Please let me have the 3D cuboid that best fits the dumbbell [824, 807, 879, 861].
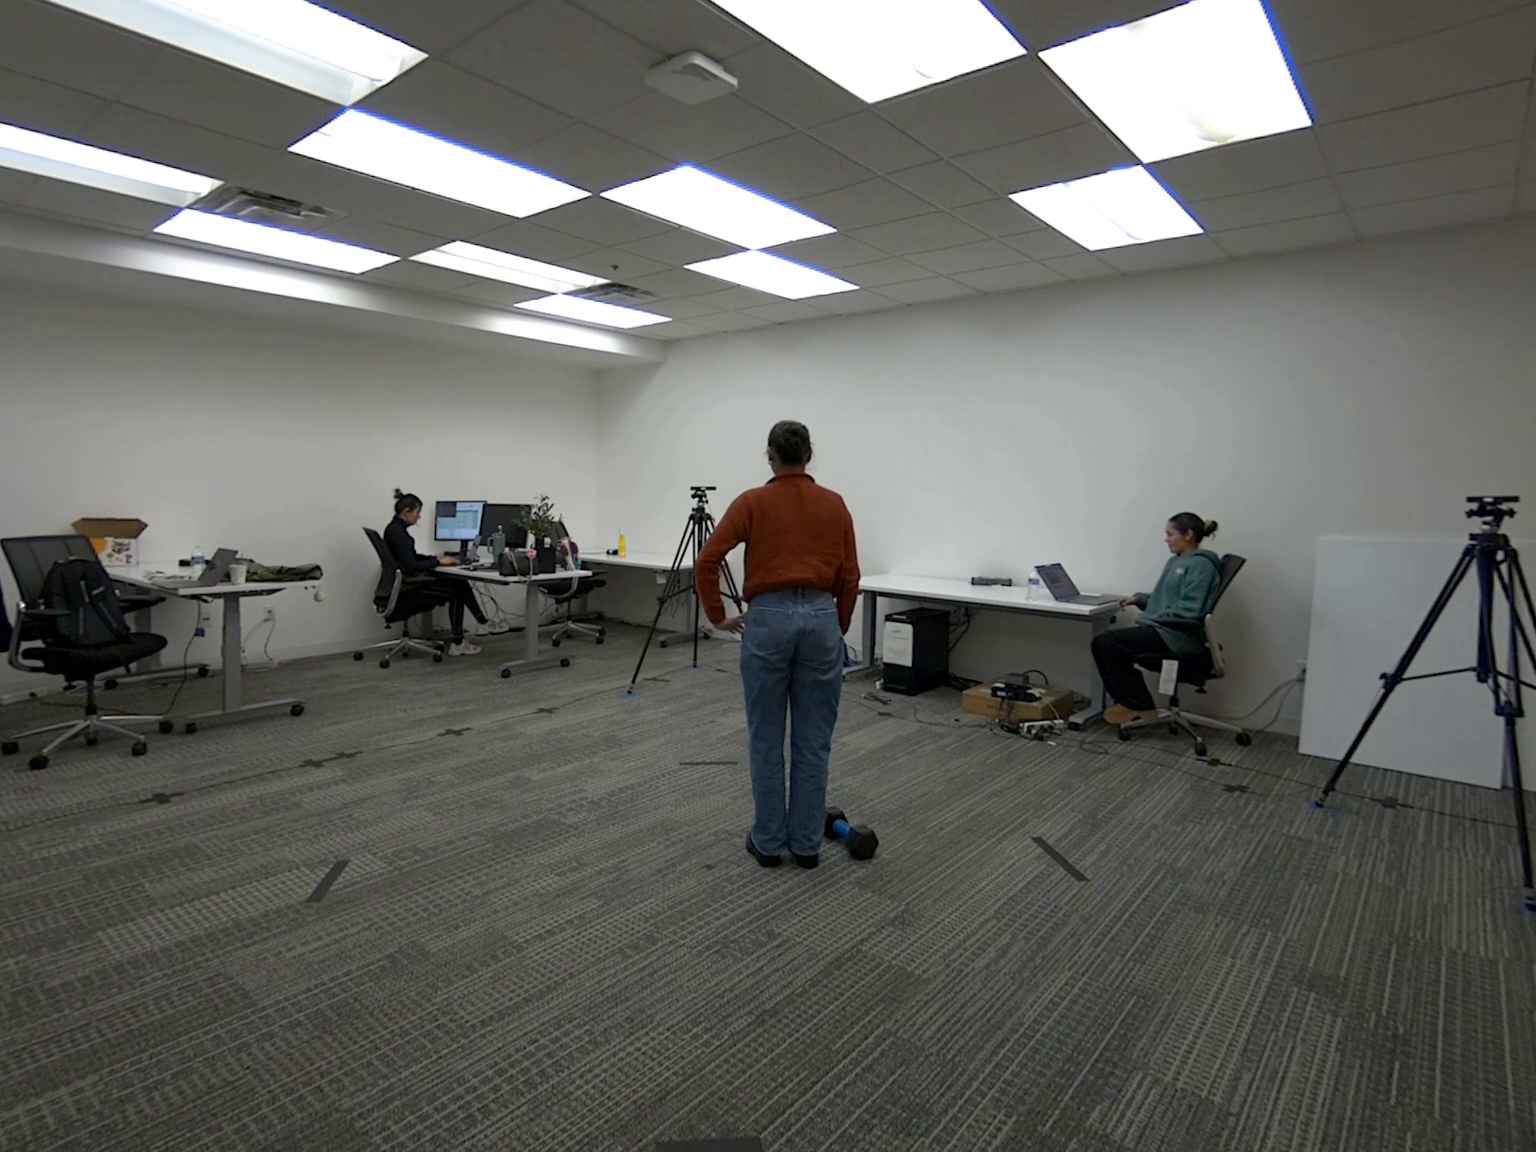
[{"bbox_3d":[0.305,1.003,3.337,0.108,0.120,0.301,-33,18,-20],"label":"dumbbell"}]
